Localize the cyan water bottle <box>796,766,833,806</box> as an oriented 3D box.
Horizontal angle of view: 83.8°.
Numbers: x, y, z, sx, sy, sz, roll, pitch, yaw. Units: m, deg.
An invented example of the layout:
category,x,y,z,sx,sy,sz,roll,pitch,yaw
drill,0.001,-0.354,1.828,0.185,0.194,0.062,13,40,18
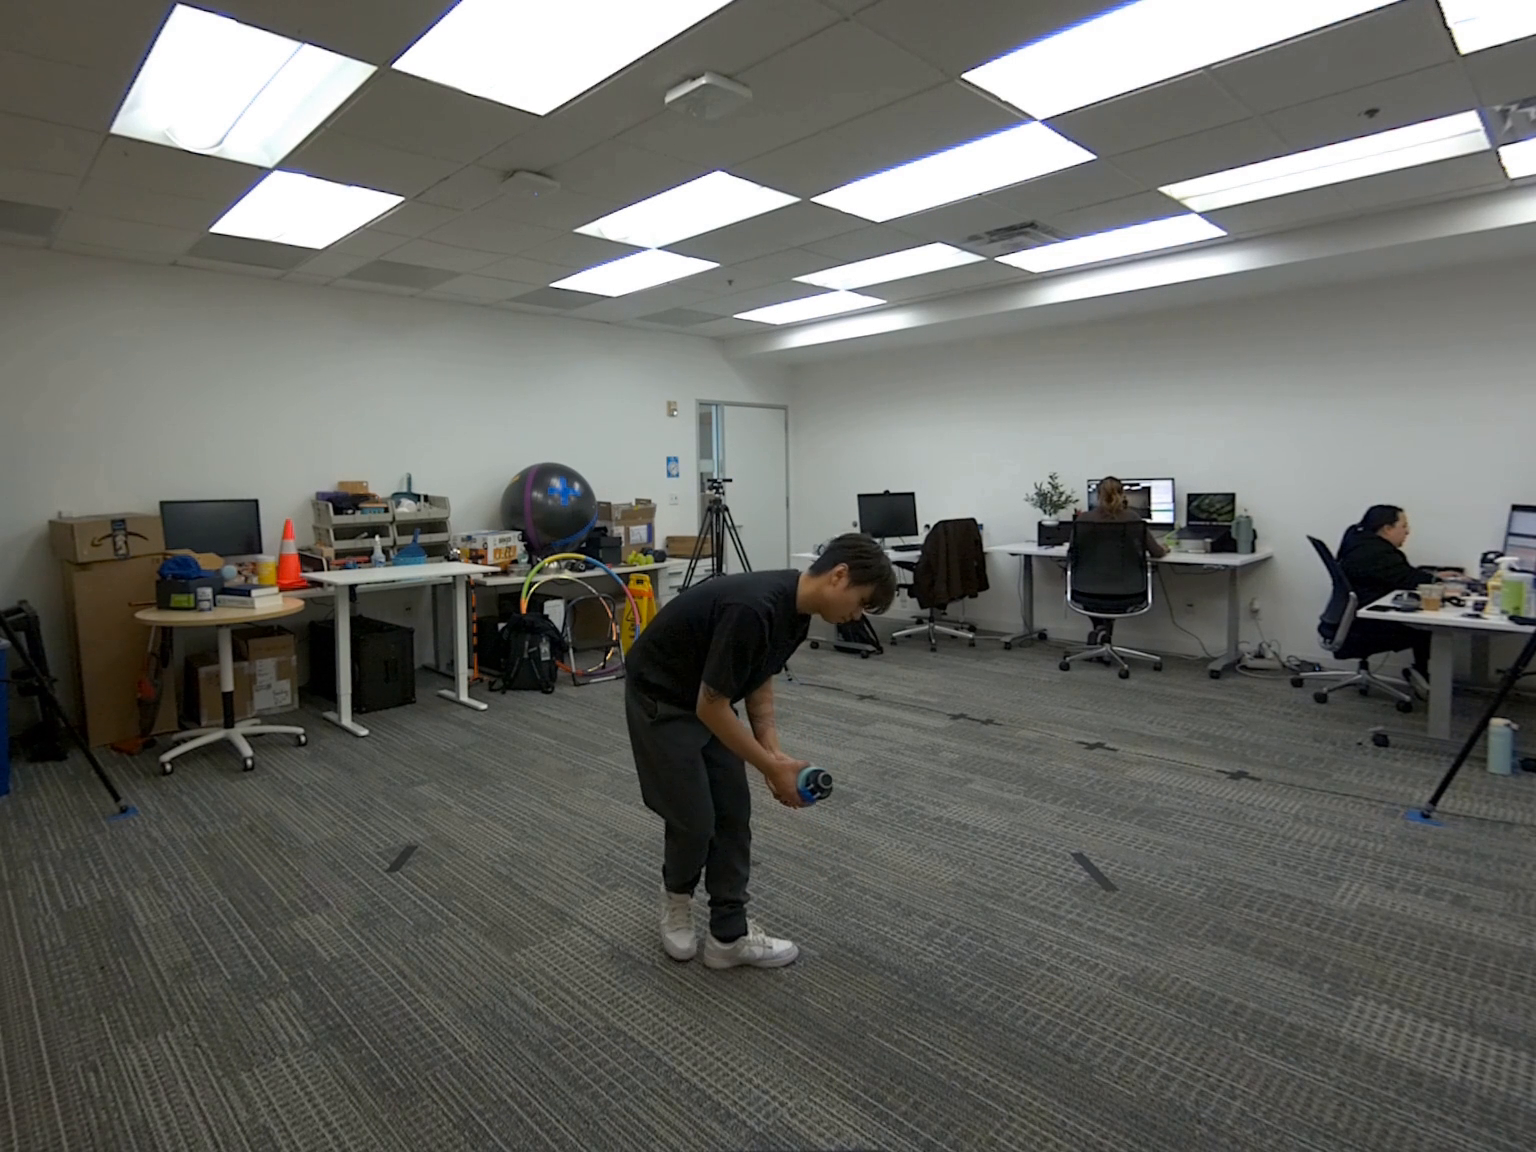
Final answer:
category,x,y,z,sx,sy,sz,roll,pitch,yaw
cyan water bottle,0.100,0.563,2.331,0.091,0.093,0.284,-2,-11,-16
